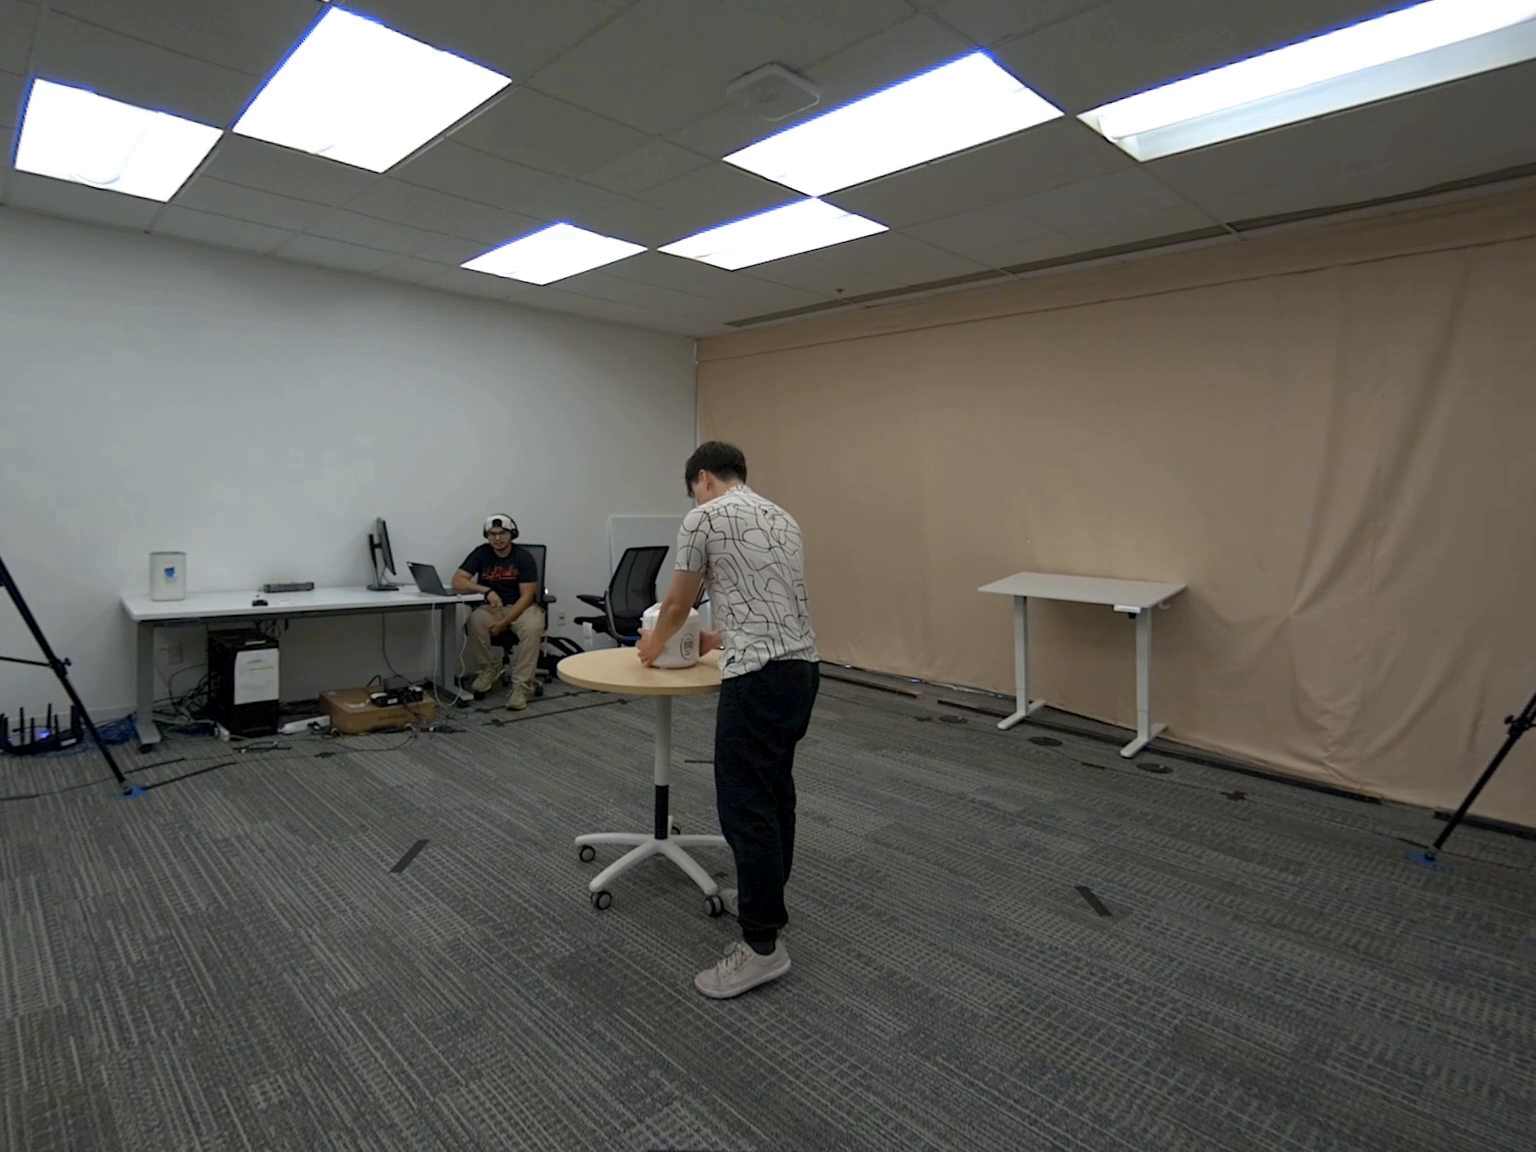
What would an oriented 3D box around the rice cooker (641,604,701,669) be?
[{"bbox_3d":[-0.359,0.208,3.048,0.215,0.232,0.223,-1,4,-40],"label":"rice cooker"}]
